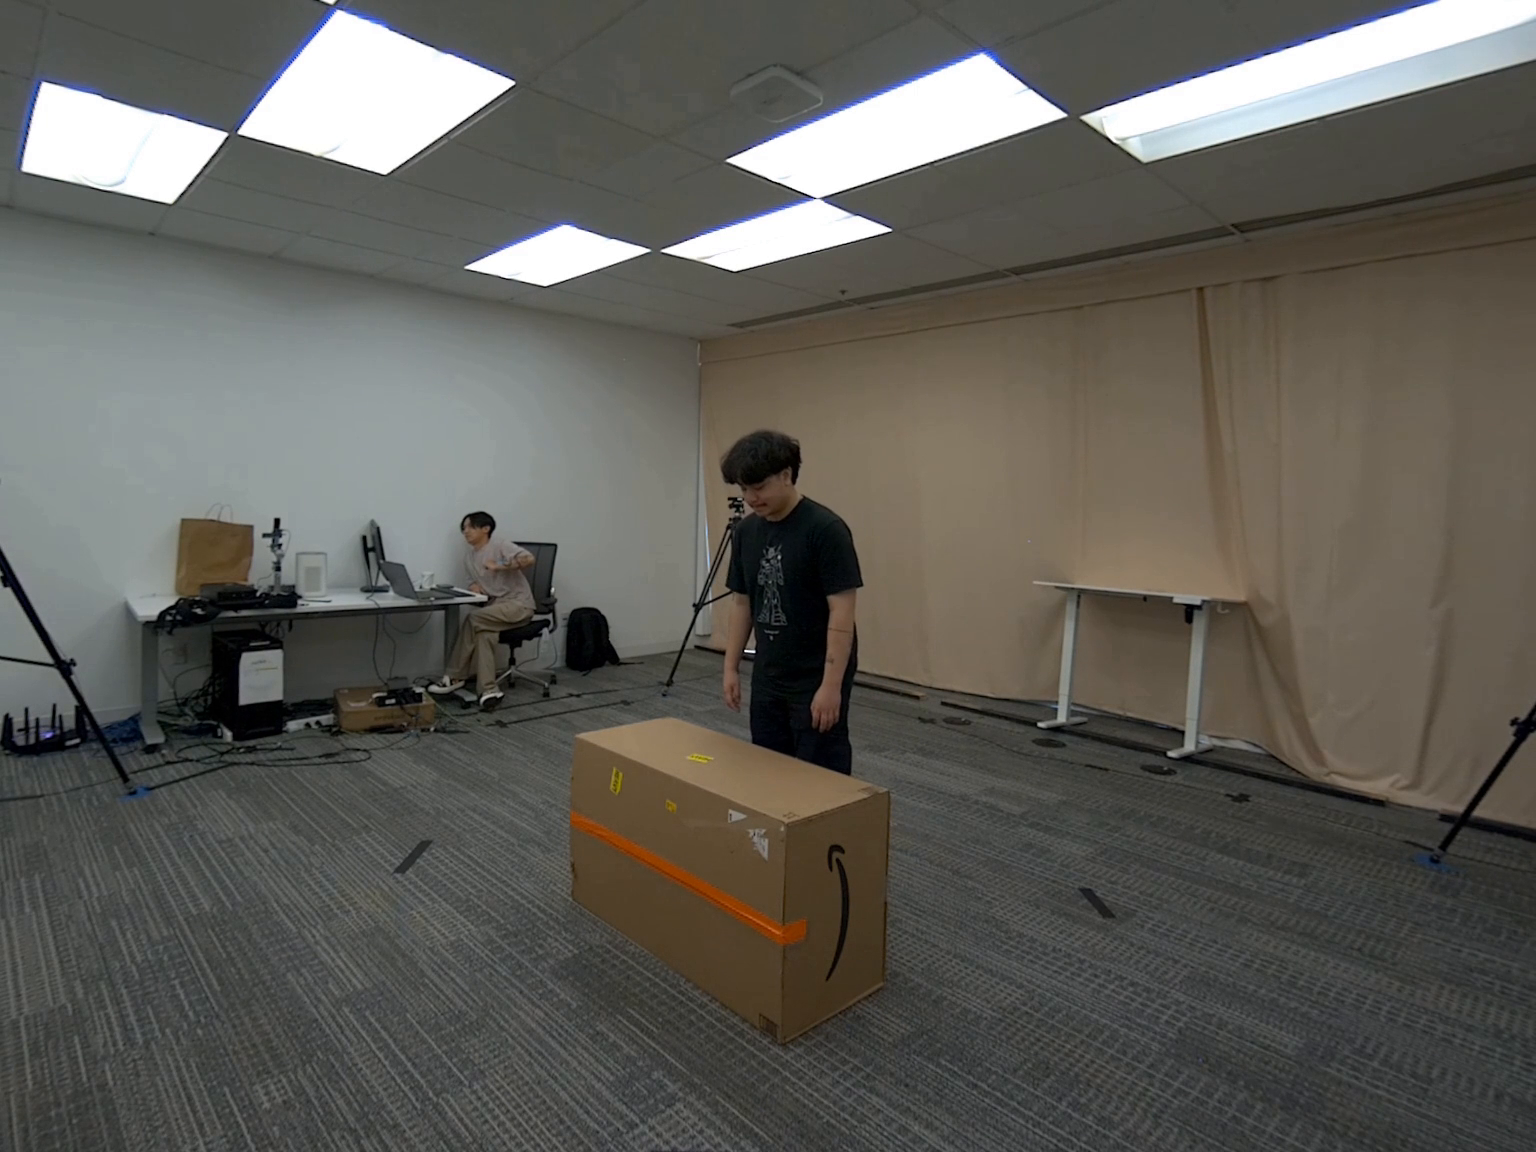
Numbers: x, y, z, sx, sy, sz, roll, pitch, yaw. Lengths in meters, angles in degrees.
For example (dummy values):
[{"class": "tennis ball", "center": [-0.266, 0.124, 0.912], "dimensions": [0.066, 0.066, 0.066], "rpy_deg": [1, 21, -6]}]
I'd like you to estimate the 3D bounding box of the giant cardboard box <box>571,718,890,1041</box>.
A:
[{"class": "giant cardboard box", "center": [-0.173, 0.865, 2.639], "dimensions": [0.437, 0.582, 1.053], "rpy_deg": [-3, 6, -43]}]
